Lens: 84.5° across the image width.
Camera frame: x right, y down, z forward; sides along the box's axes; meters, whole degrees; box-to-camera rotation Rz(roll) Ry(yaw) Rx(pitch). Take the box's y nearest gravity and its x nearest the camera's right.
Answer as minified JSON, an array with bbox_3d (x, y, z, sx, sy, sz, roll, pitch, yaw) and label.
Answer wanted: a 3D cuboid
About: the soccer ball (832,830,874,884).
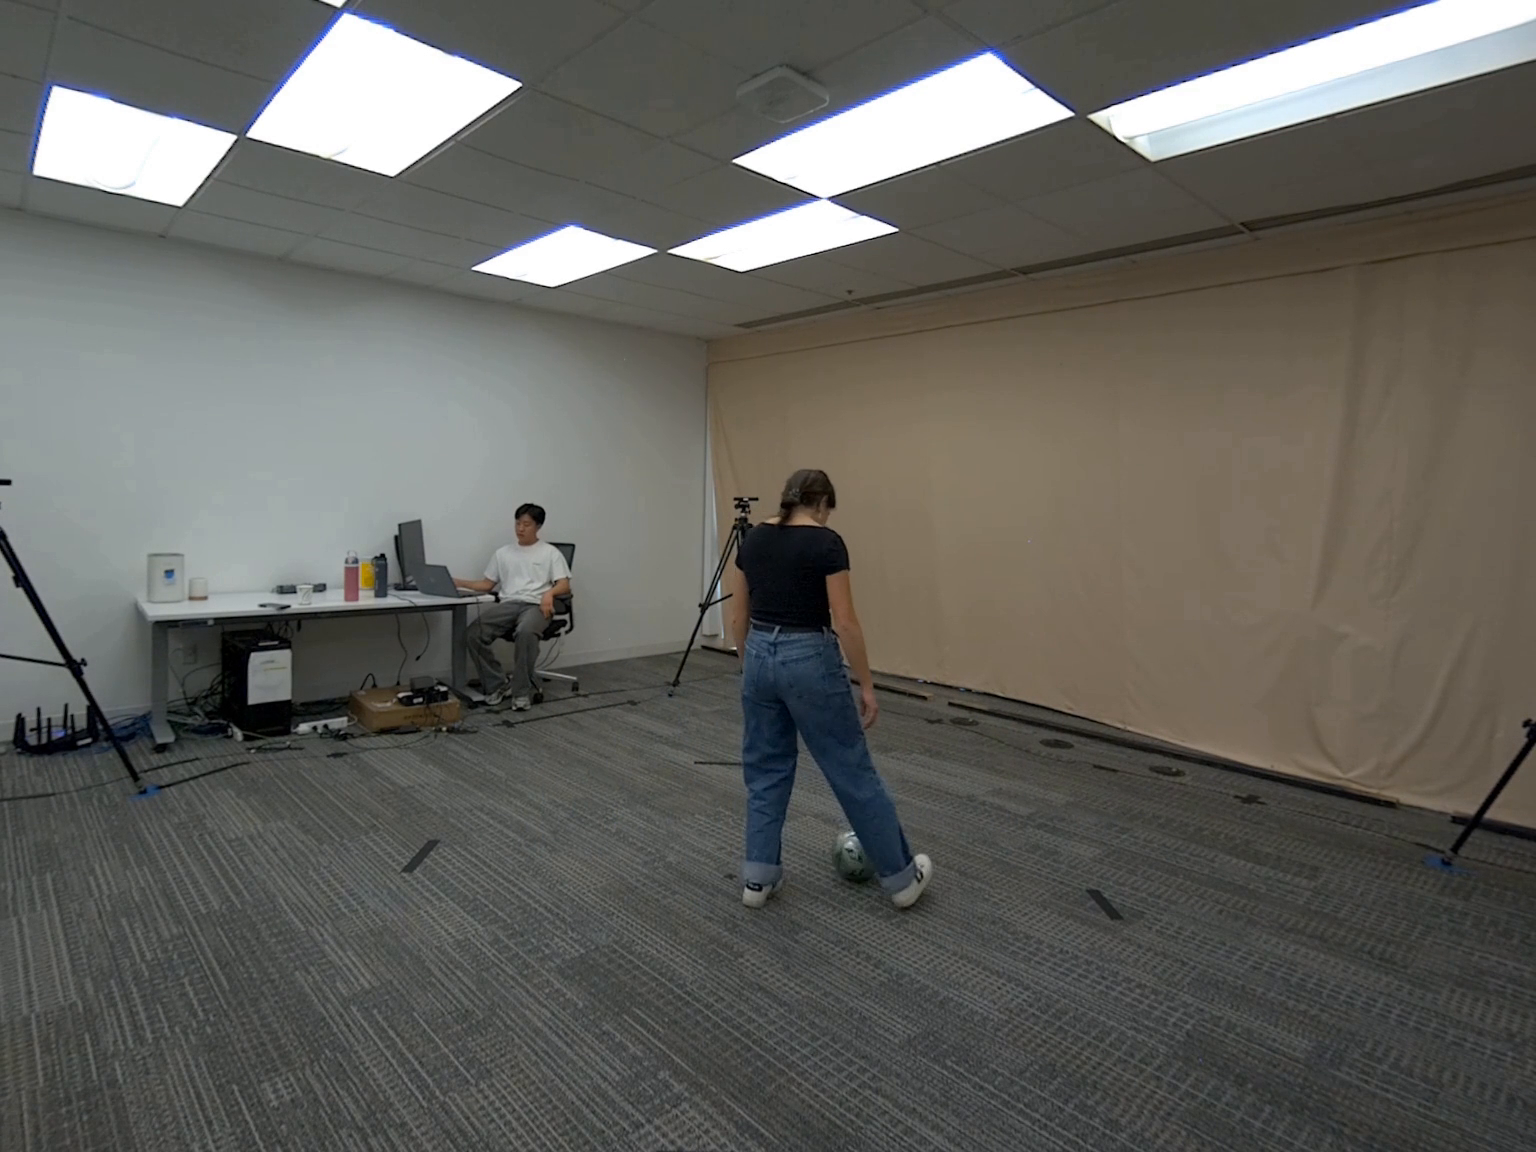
[{"bbox_3d":[0.314,1.028,3.100,0.187,0.187,0.188,1,4,-1],"label":"soccer ball"}]
